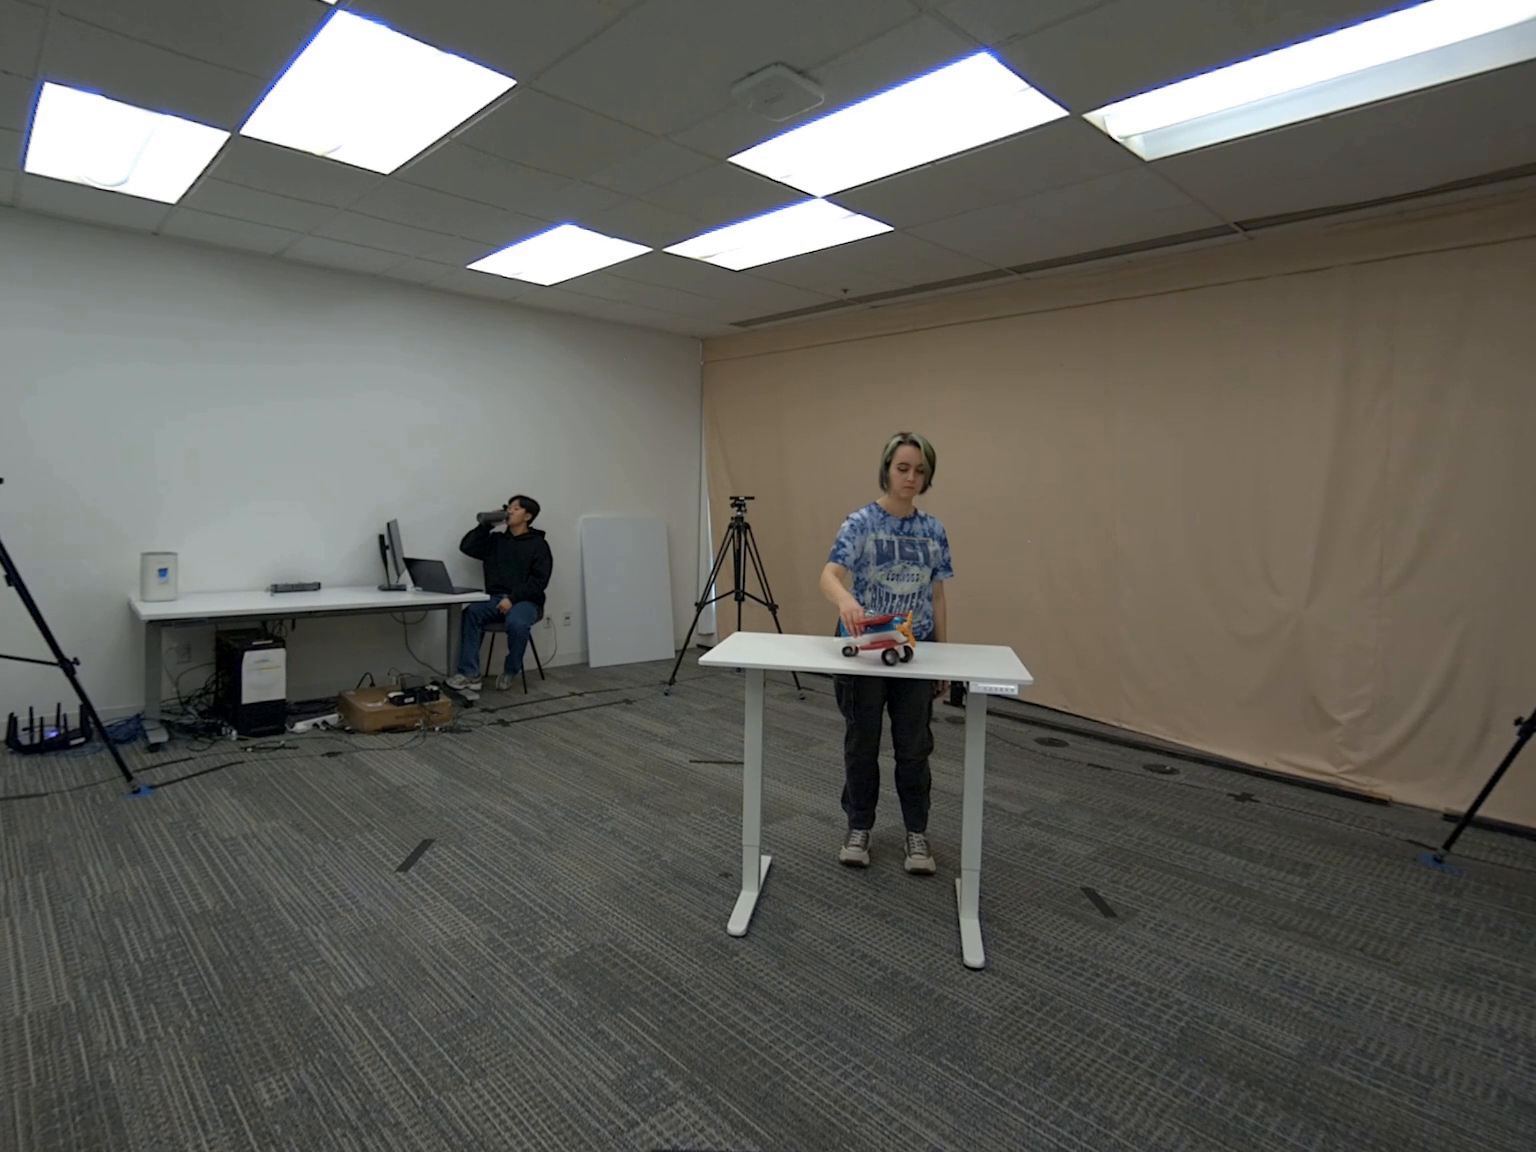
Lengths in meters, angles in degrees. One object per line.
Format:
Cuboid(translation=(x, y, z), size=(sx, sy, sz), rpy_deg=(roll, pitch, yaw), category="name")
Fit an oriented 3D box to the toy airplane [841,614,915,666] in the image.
Cuboid(translation=(0.329, 0.198, 2.671), size=(0.262, 0.156, 0.249), rpy_deg=(2, 5, 13), category="toy airplane")
